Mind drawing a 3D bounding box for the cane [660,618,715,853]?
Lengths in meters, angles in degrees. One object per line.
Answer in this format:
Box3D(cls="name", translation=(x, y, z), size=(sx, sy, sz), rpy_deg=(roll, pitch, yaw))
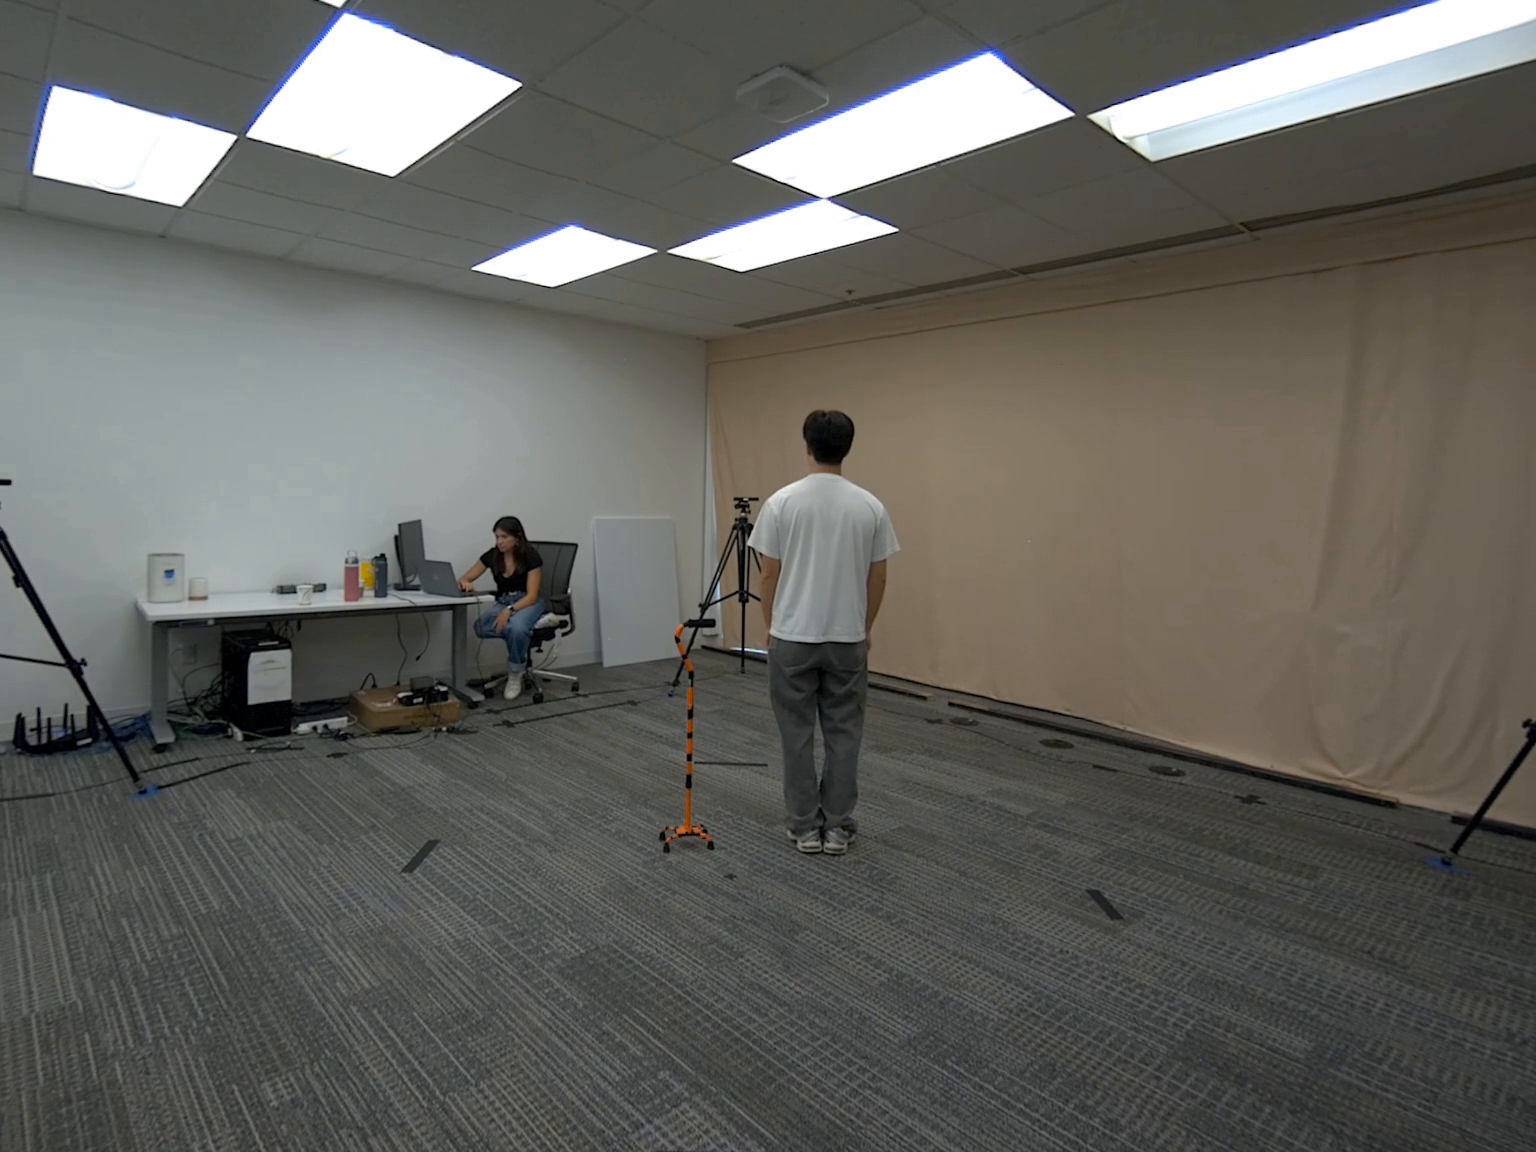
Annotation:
Box3D(cls="cane", translation=(-0.324, 0.632, 3.350), size=(0.204, 0.905, 0.154), rpy_deg=(0, 4, -15))
